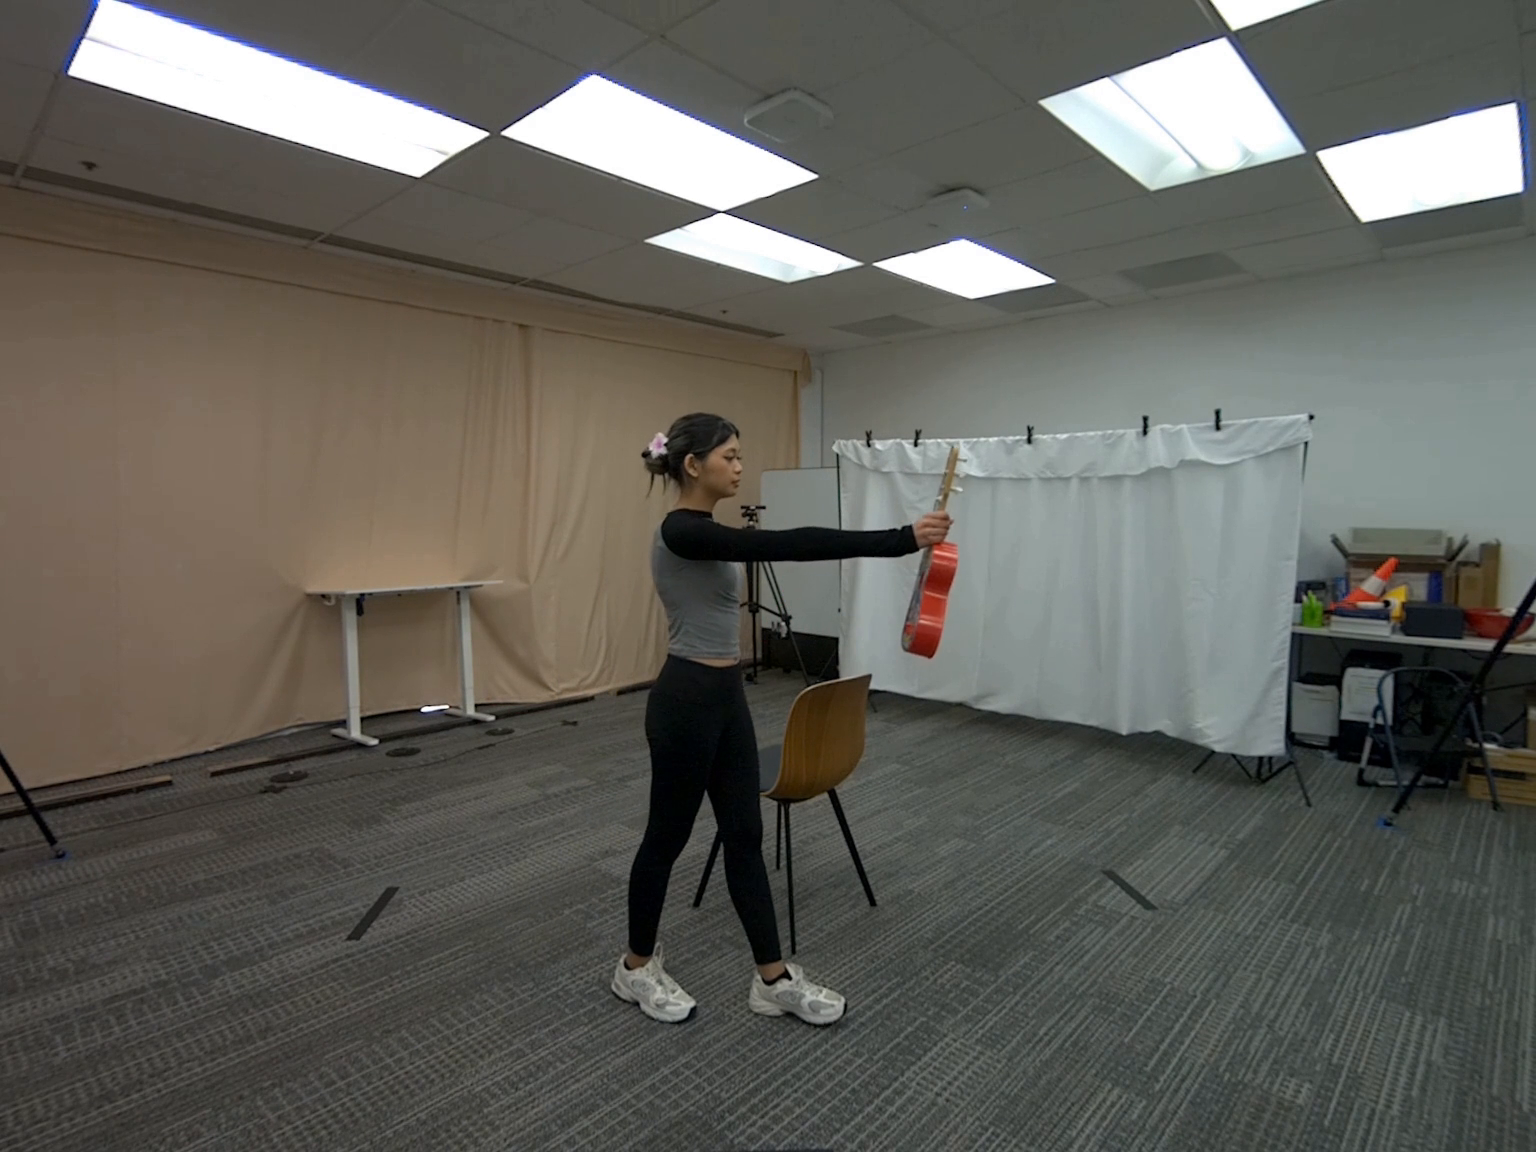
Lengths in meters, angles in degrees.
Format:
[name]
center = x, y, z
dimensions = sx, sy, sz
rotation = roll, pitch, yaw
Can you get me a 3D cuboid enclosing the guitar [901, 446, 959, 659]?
[guitar]
center = 0.412, -0.051, 1.957
dimensions = 0.071, 0.496, 0.193
rotation = 13, 10, 0
